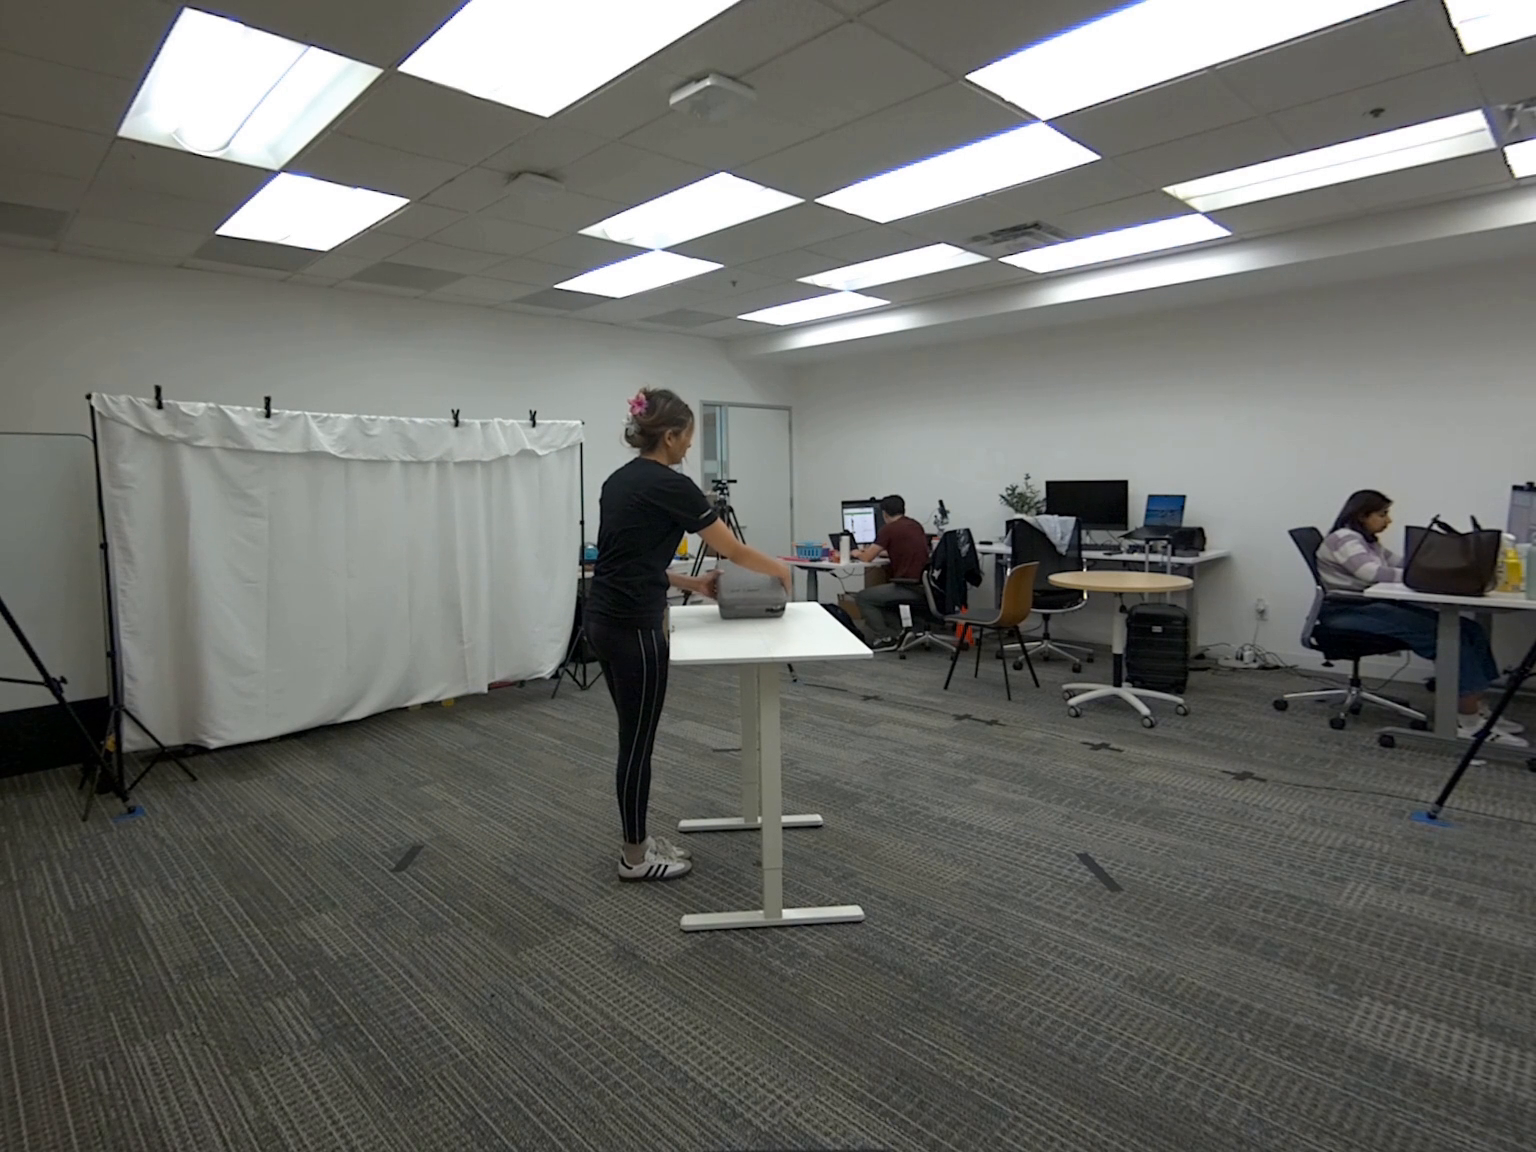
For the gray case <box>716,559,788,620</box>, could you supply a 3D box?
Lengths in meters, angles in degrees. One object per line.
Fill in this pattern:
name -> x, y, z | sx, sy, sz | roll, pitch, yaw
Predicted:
gray case -> -0.065, 0.051, 3.234 | 0.256, 0.102, 0.268 | 0, 38, -2
